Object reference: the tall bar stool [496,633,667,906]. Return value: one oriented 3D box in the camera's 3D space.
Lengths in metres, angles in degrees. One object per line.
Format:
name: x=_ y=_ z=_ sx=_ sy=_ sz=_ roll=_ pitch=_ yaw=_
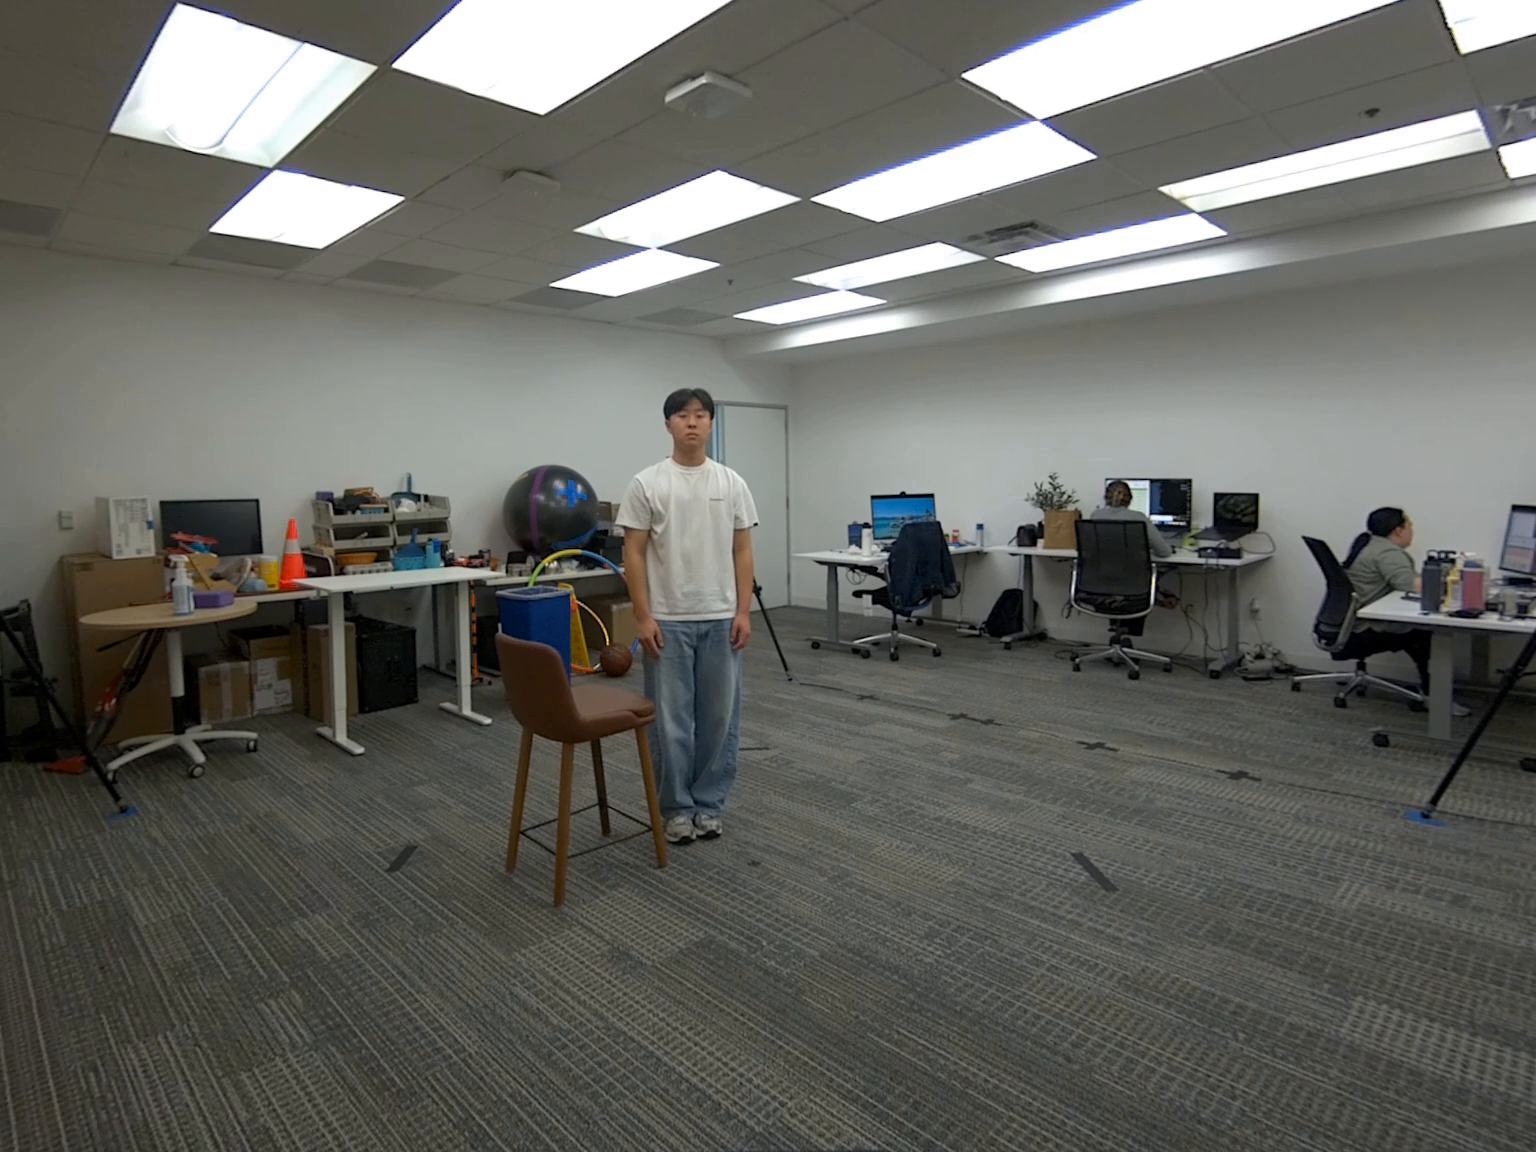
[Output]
tall bar stool: x=-0.675 y=0.624 z=3.064 sx=0.456 sy=0.885 sz=0.470 roll=-8 pitch=8 yaw=-42
